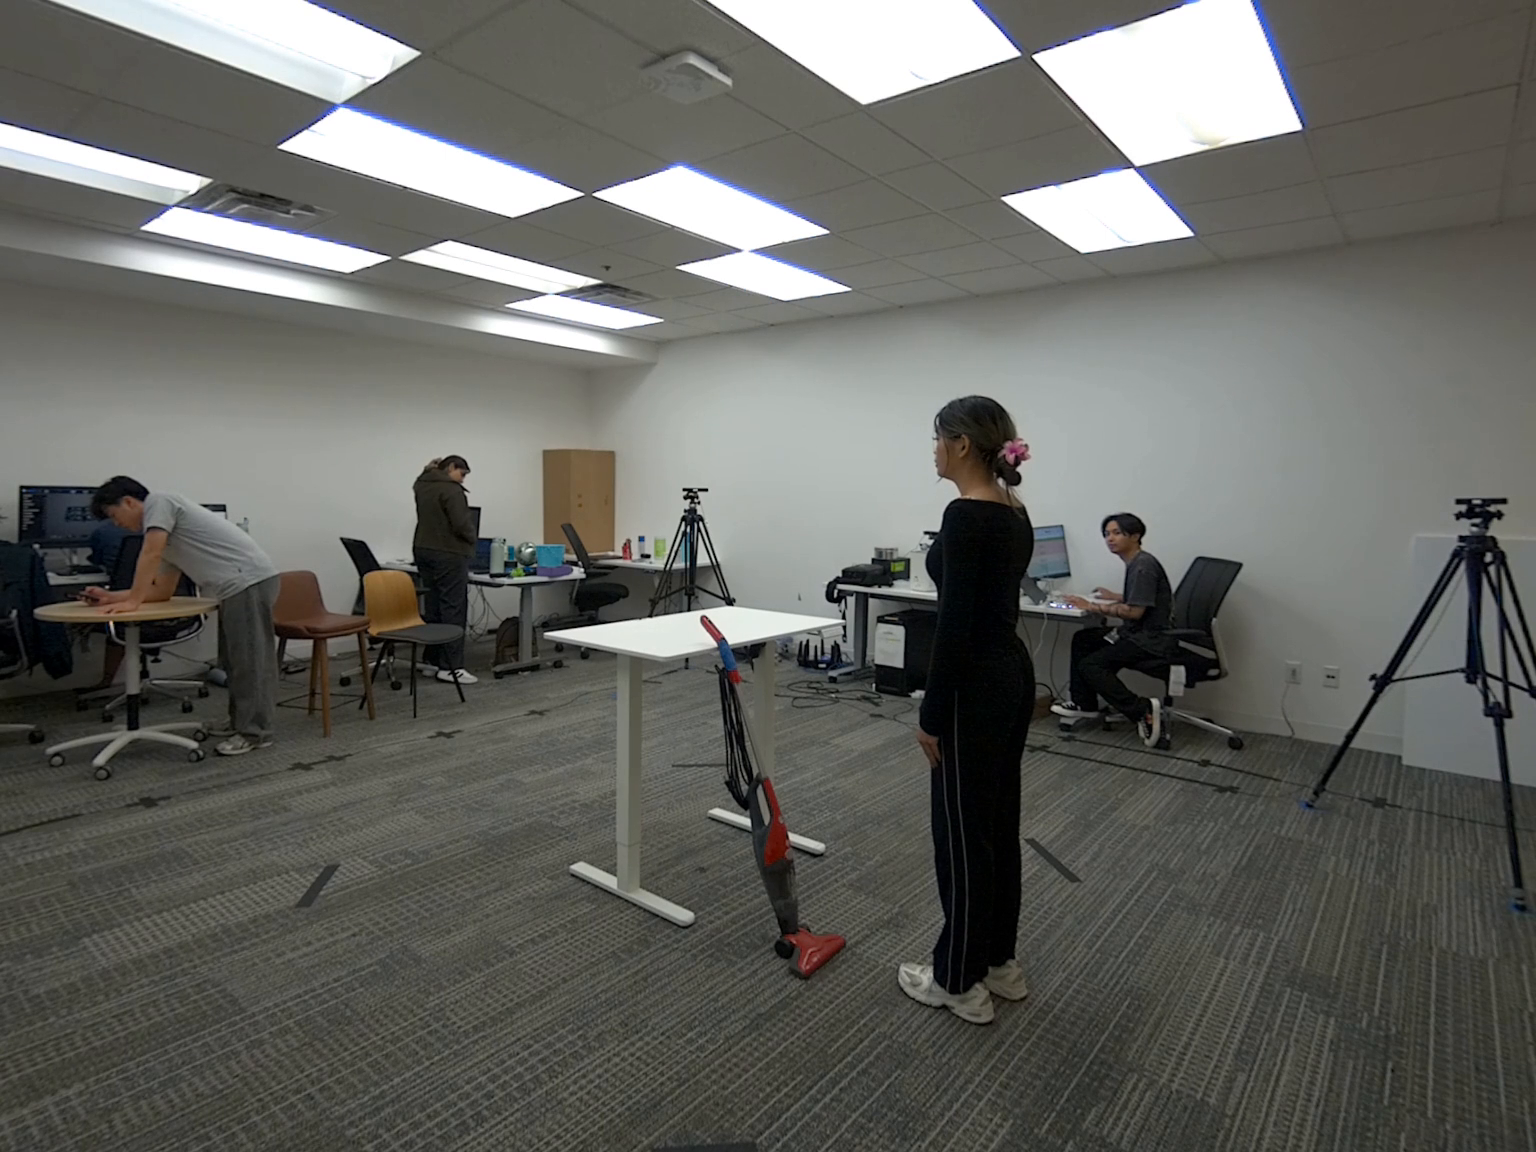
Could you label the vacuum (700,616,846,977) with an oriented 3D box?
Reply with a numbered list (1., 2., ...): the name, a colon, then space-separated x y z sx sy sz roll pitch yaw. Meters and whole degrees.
1. vacuum: -0.053 0.637 2.652 0.146 1.064 0.245 -28 -14 37
